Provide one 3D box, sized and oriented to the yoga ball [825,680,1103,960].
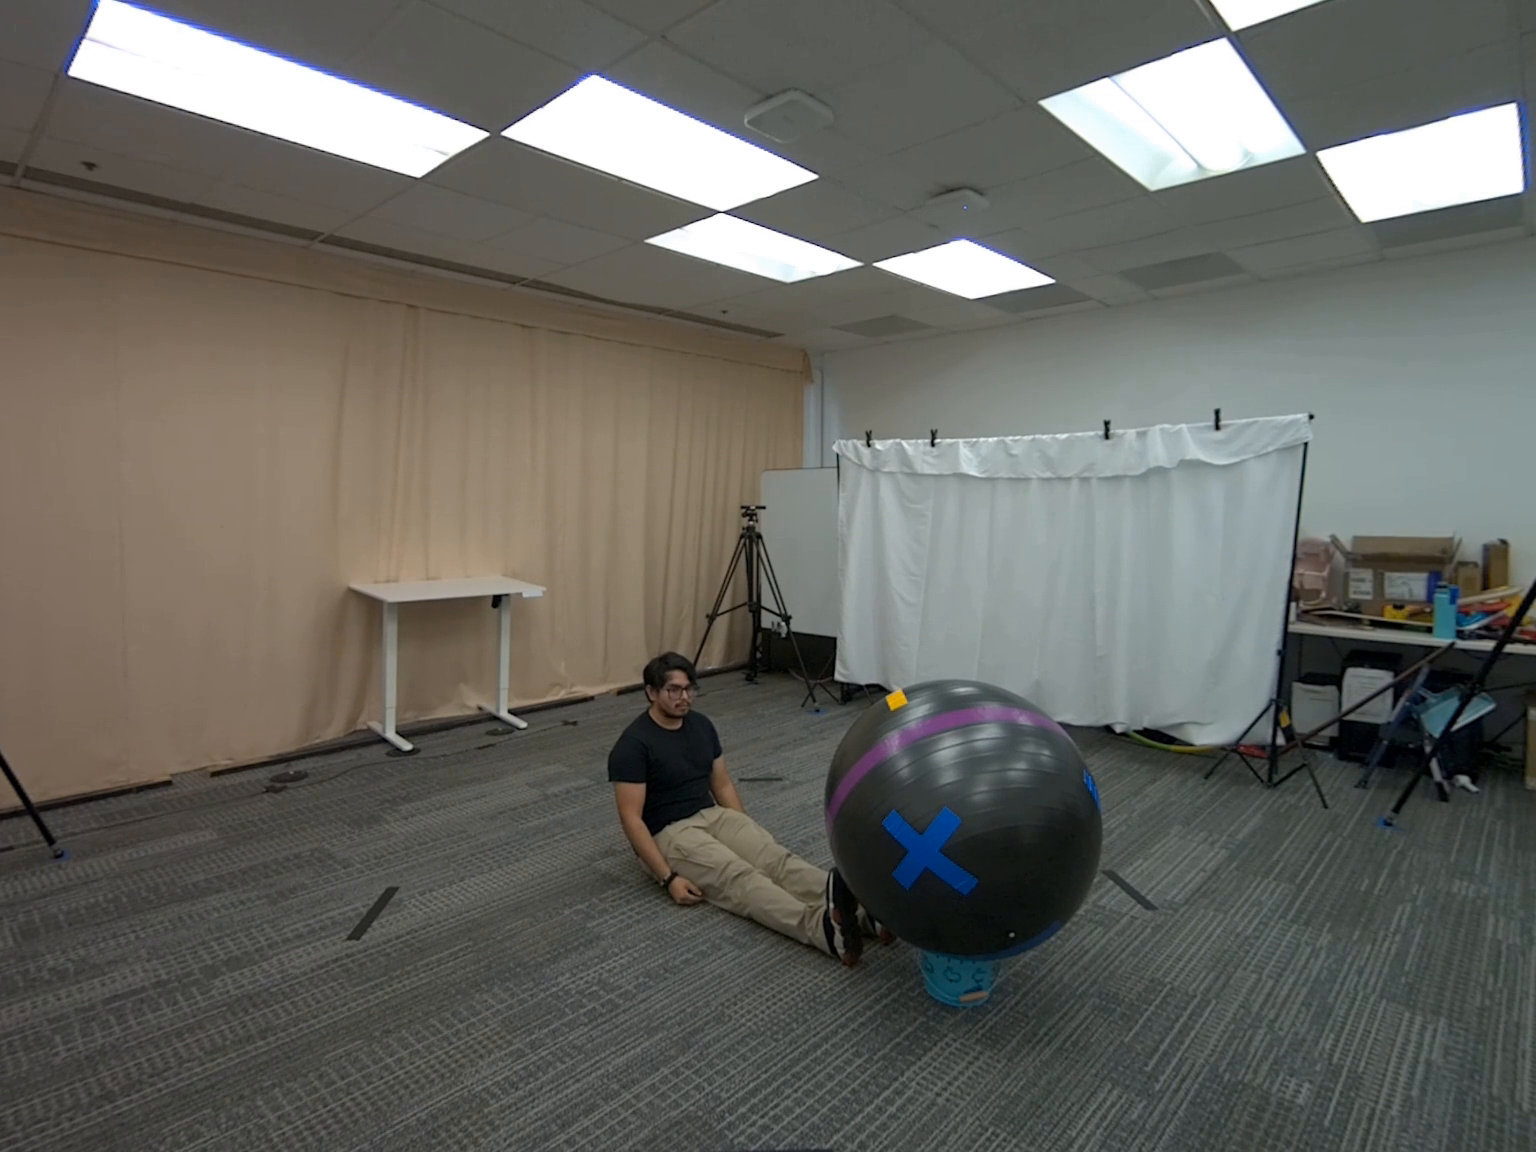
[{"bbox_3d":[0.550,0.684,2.405,0.757,0.756,0.760,0,4,-2],"label":"yoga ball"}]
